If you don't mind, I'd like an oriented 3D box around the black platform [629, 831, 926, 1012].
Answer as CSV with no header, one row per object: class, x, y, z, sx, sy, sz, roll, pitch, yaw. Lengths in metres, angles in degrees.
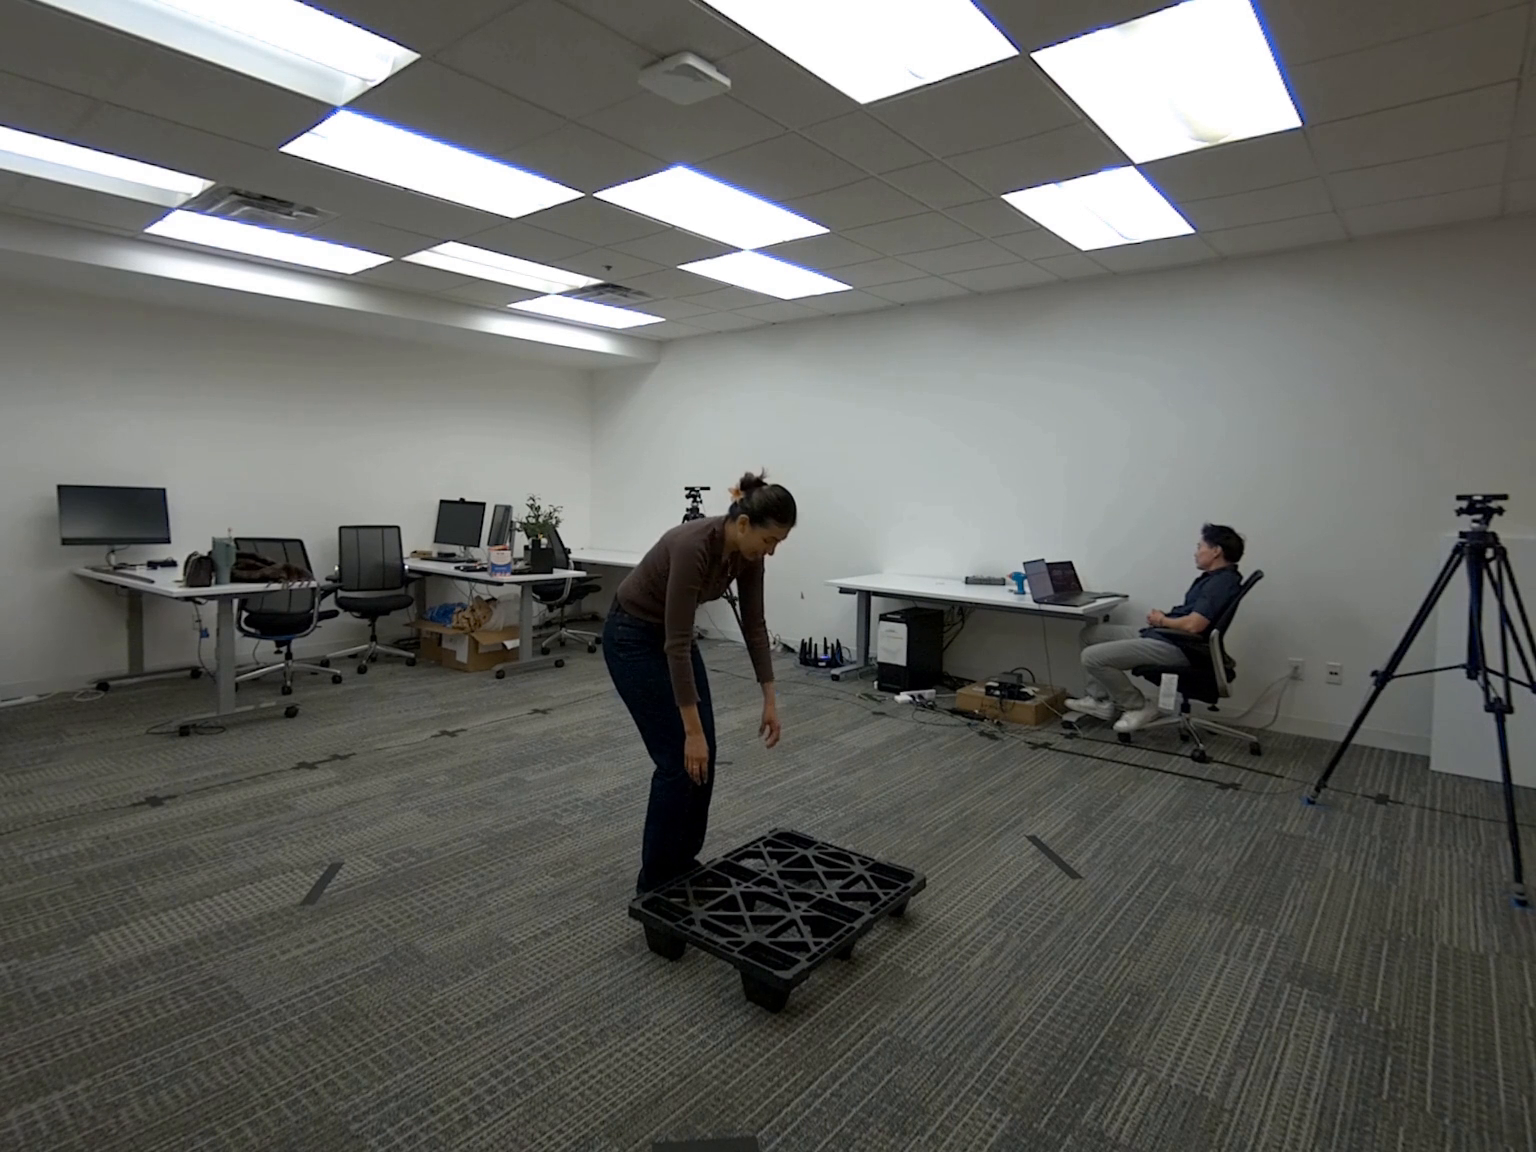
black platform,0.035,1.045,2.676,0.625,0.143,0.782,5,7,37
